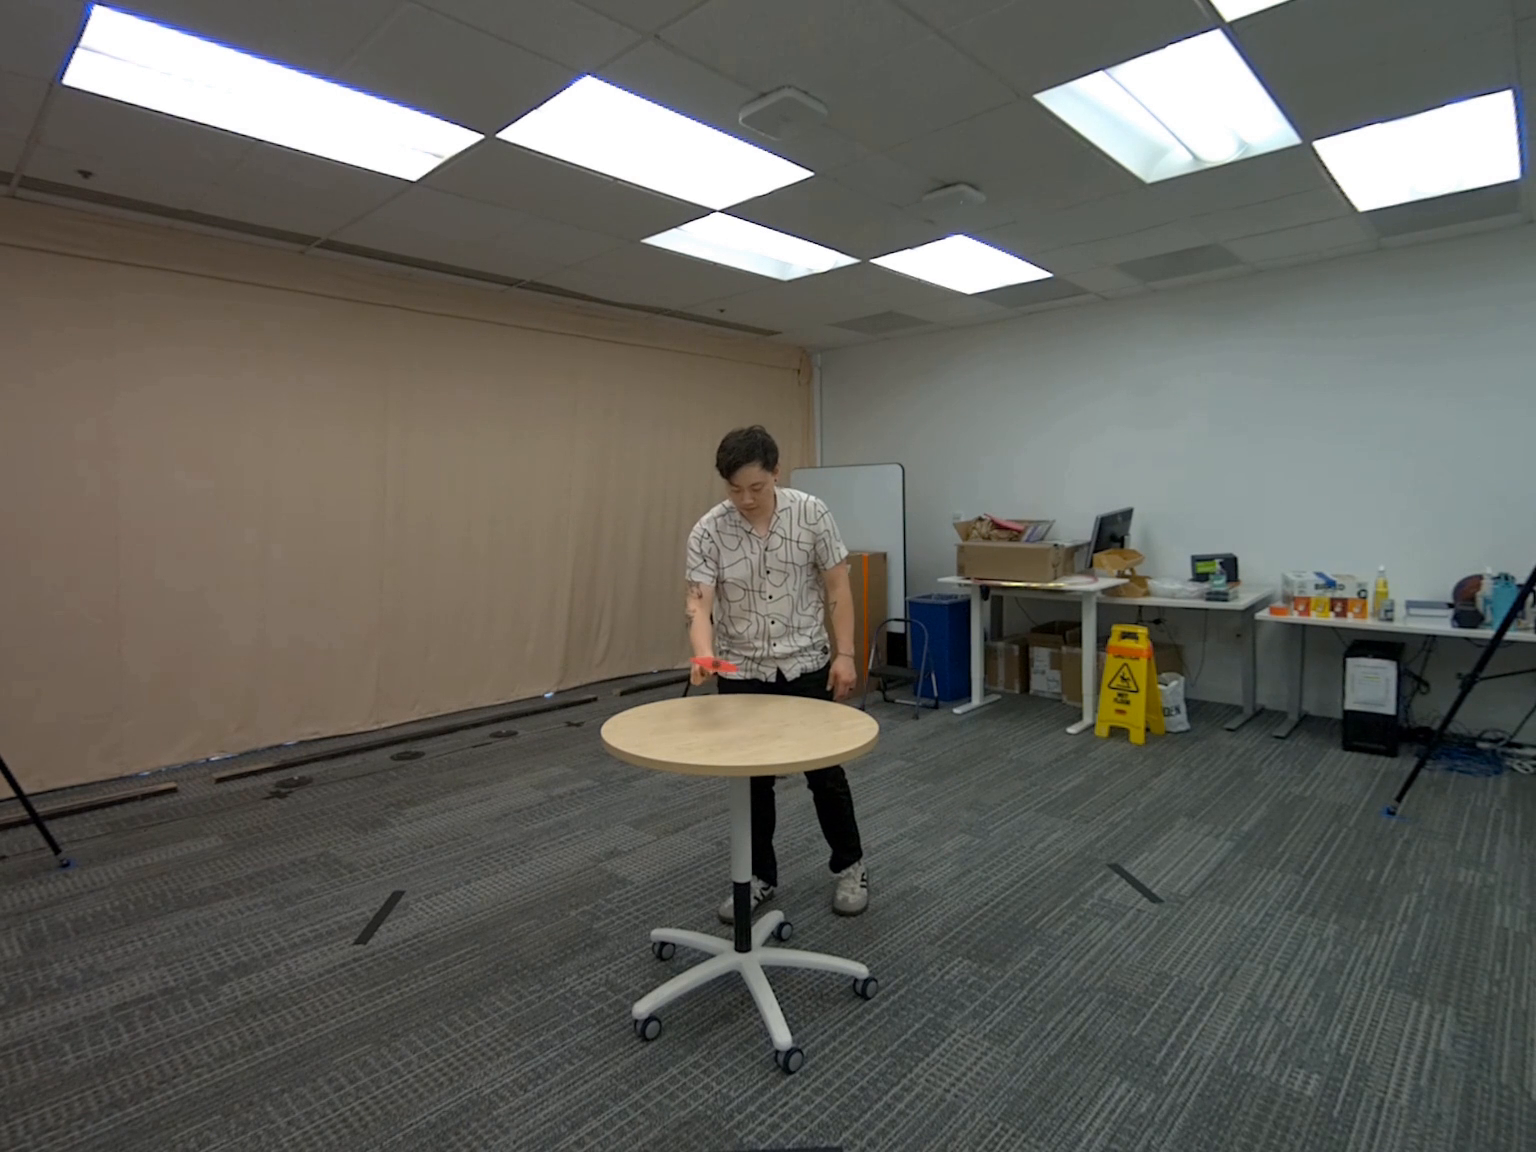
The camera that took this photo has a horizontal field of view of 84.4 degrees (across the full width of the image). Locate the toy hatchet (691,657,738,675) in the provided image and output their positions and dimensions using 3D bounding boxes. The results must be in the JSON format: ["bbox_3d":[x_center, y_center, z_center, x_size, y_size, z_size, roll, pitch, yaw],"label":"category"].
[{"bbox_3d":[-0.128,0.264,2.358,0.133,0.030,0.264,6,-13,12],"label":"toy hatchet"}]
